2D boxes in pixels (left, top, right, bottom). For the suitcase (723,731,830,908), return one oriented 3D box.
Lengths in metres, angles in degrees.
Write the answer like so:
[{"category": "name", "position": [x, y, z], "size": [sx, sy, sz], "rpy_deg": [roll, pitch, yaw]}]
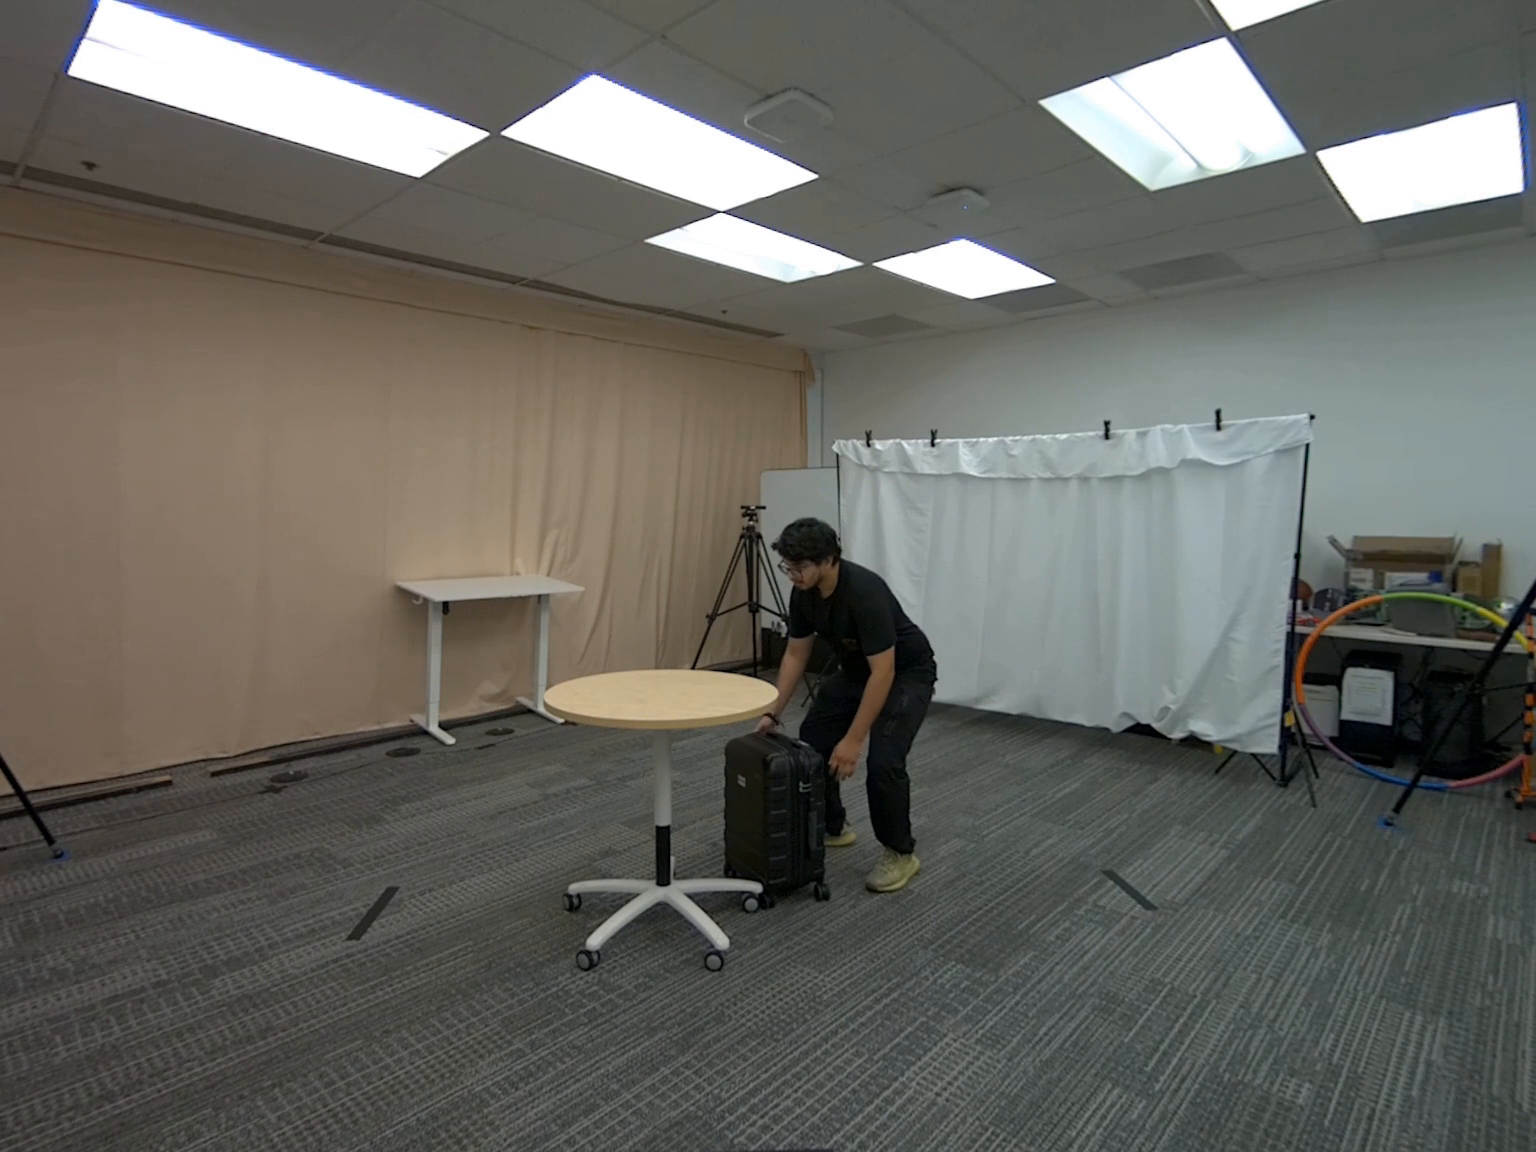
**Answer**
[{"category": "suitcase", "position": [0.019, 0.857, 3.065], "size": [0.242, 0.549, 0.386], "rpy_deg": [-1, 2, -29]}]
